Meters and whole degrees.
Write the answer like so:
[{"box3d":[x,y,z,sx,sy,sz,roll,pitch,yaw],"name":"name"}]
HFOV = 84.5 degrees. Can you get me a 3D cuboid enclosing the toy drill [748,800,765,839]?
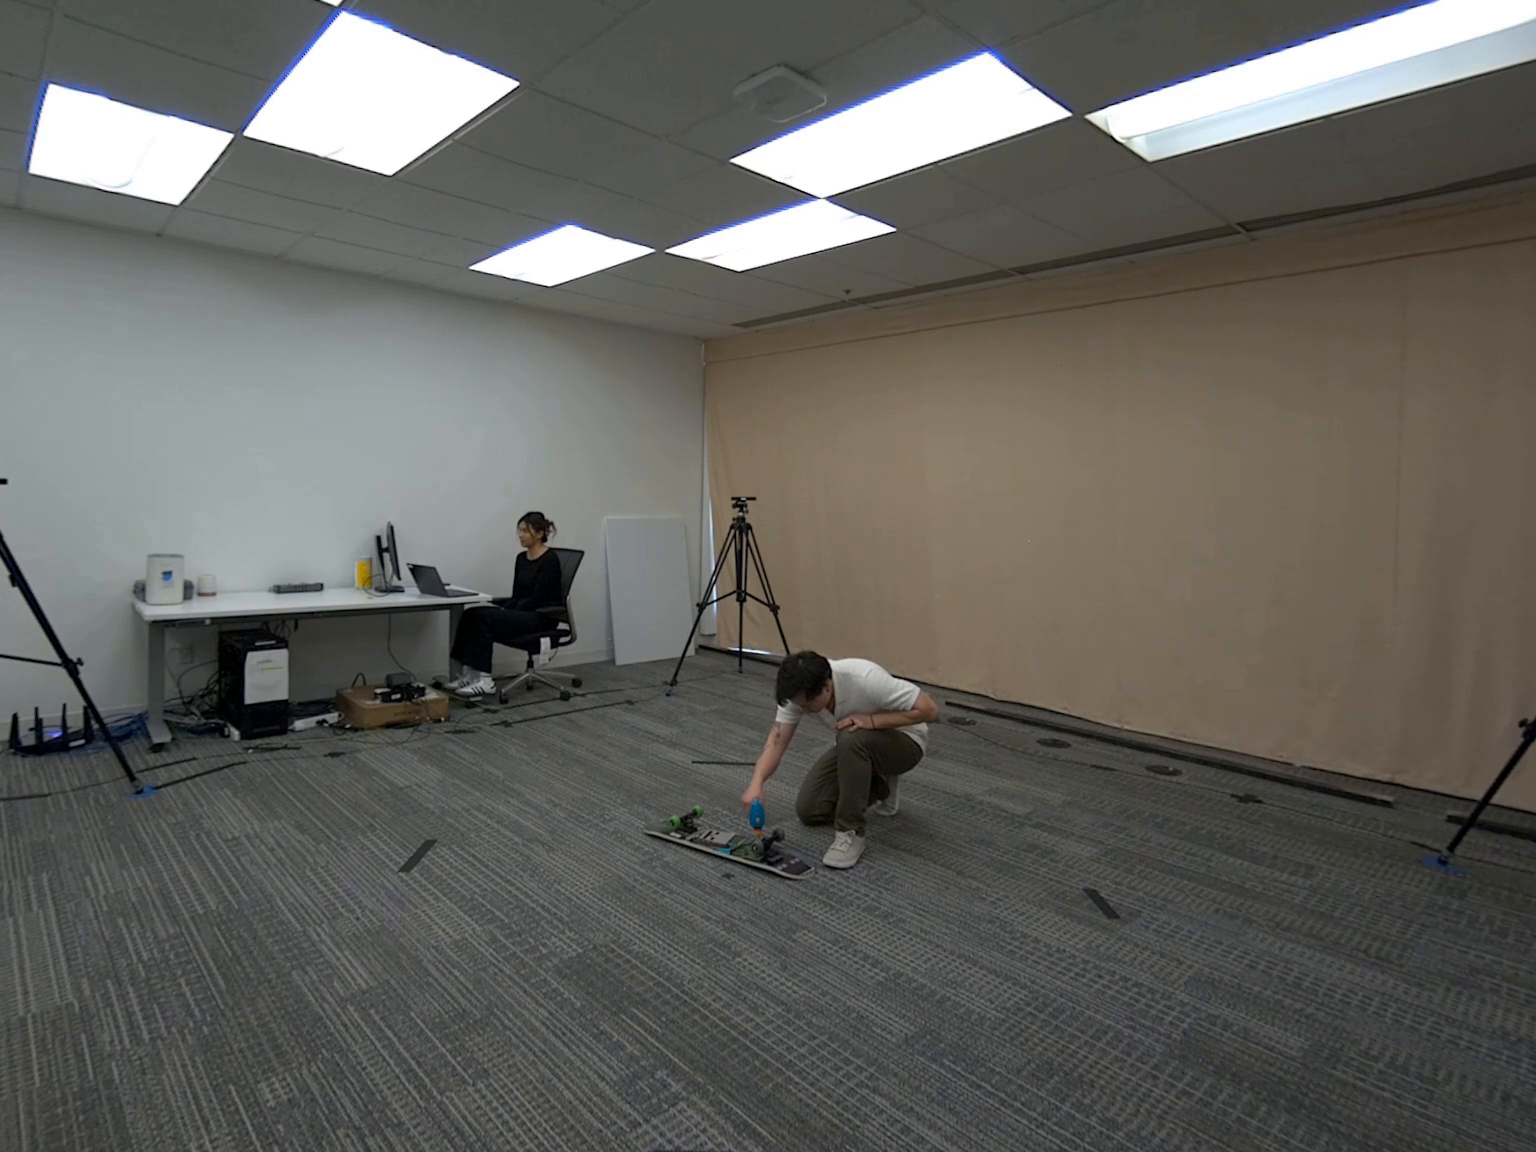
[{"box3d":[-0.050,0.940,3.268,0.061,0.169,0.147,-7,8,0],"name":"toy drill"}]
